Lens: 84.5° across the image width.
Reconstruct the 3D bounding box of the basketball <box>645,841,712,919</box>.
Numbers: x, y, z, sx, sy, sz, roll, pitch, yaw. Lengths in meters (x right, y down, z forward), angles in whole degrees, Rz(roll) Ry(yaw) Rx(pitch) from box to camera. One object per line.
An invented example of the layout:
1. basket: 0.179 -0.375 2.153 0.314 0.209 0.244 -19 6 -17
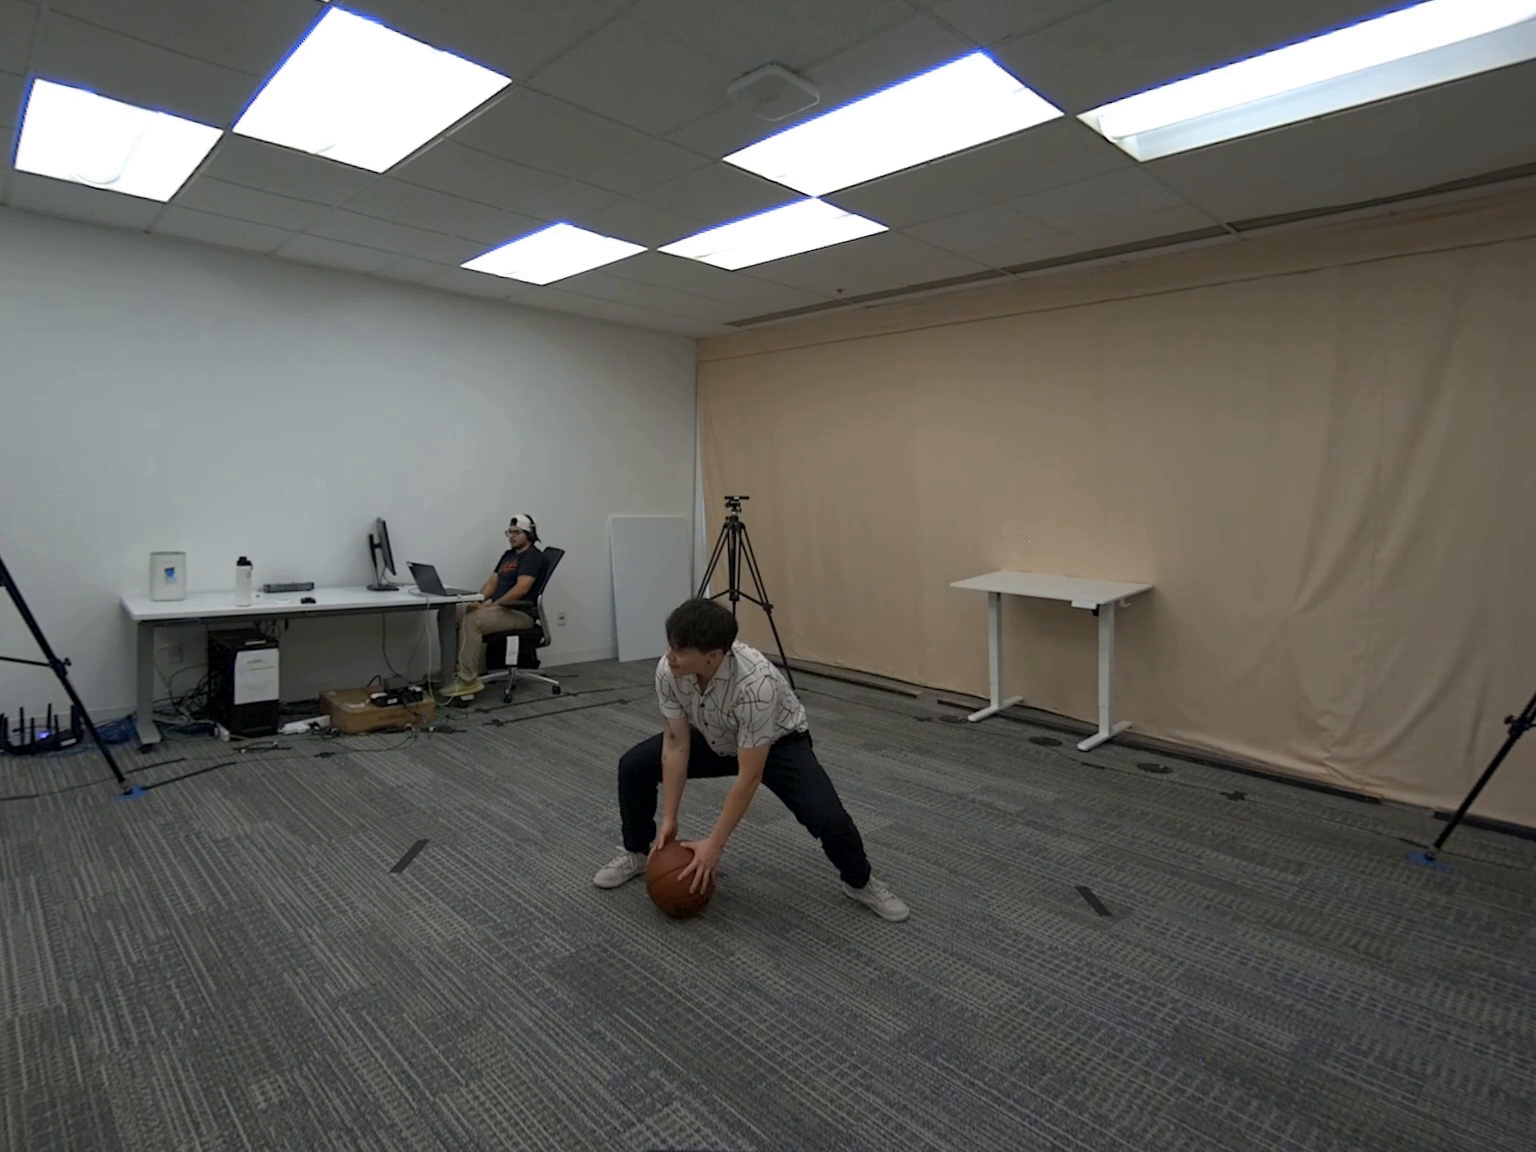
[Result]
1. basketball: -0.295 0.991 2.805 0.236 0.235 0.237 1 4 -1
